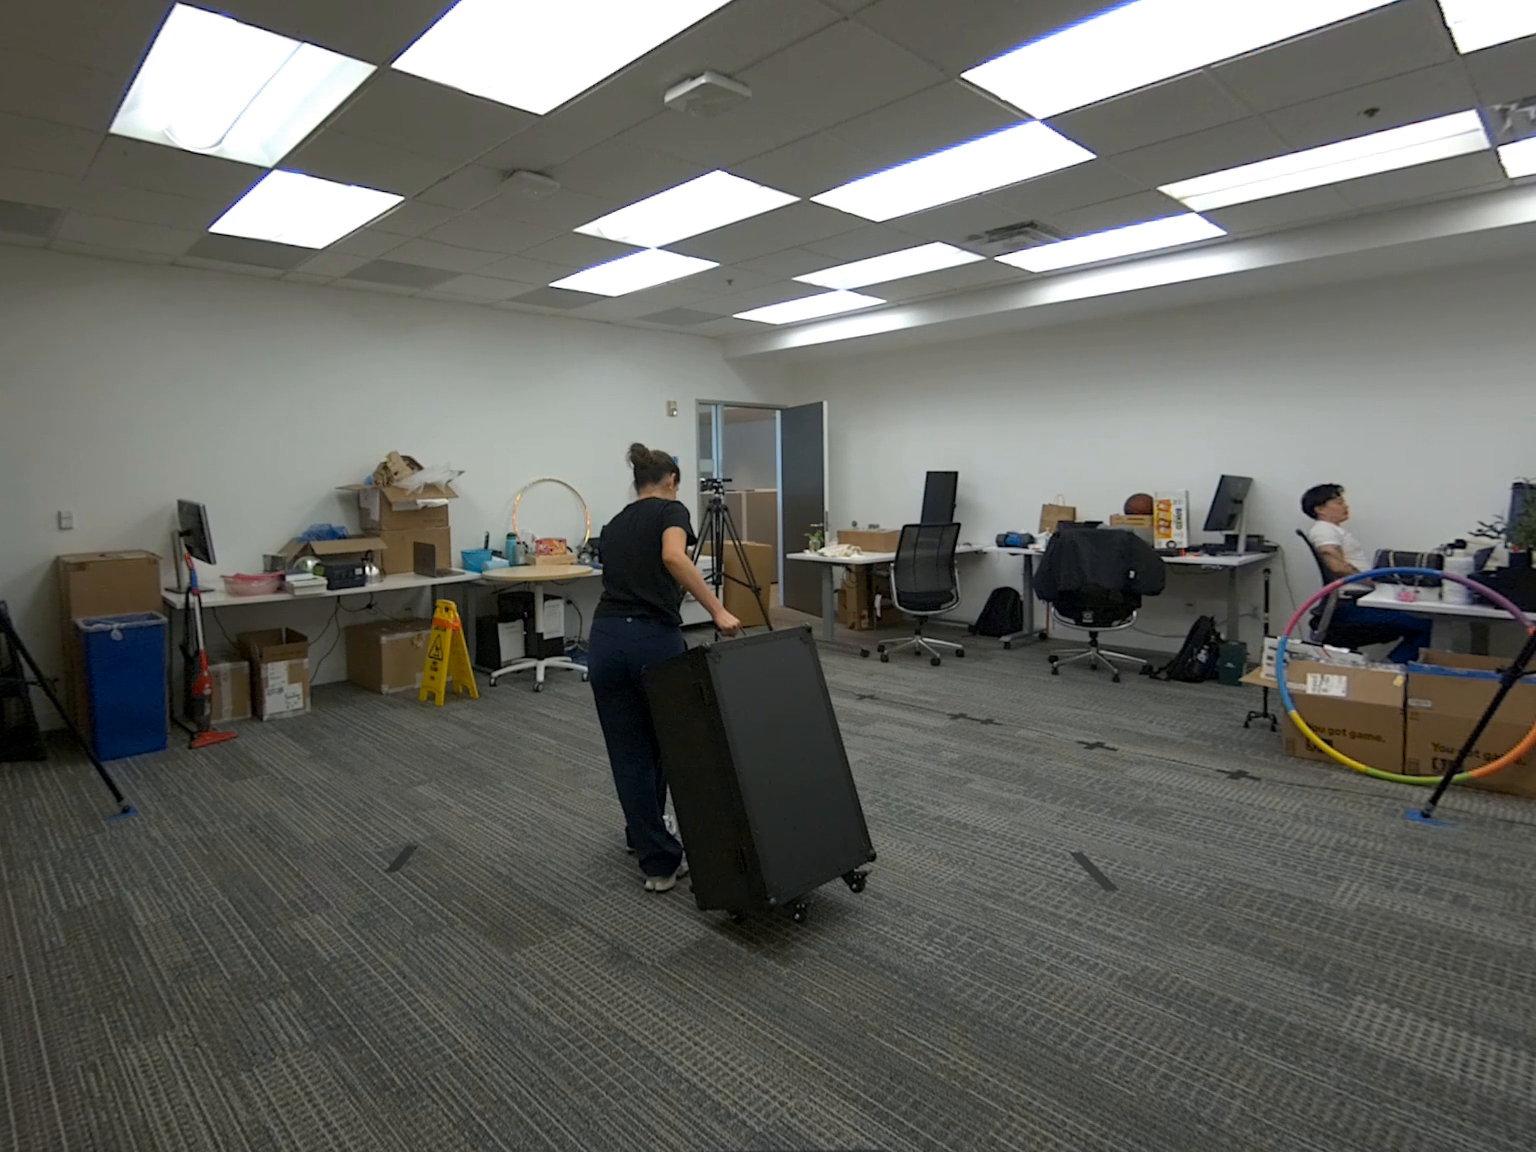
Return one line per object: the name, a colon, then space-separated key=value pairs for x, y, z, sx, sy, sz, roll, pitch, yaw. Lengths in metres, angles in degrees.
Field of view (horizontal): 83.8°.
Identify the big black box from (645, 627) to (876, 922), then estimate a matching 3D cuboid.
big black box: x=-0.038 y=0.644 z=2.803 sx=0.507 sy=0.873 sz=0.401 roll=-6 pitch=-15 yaw=-43
